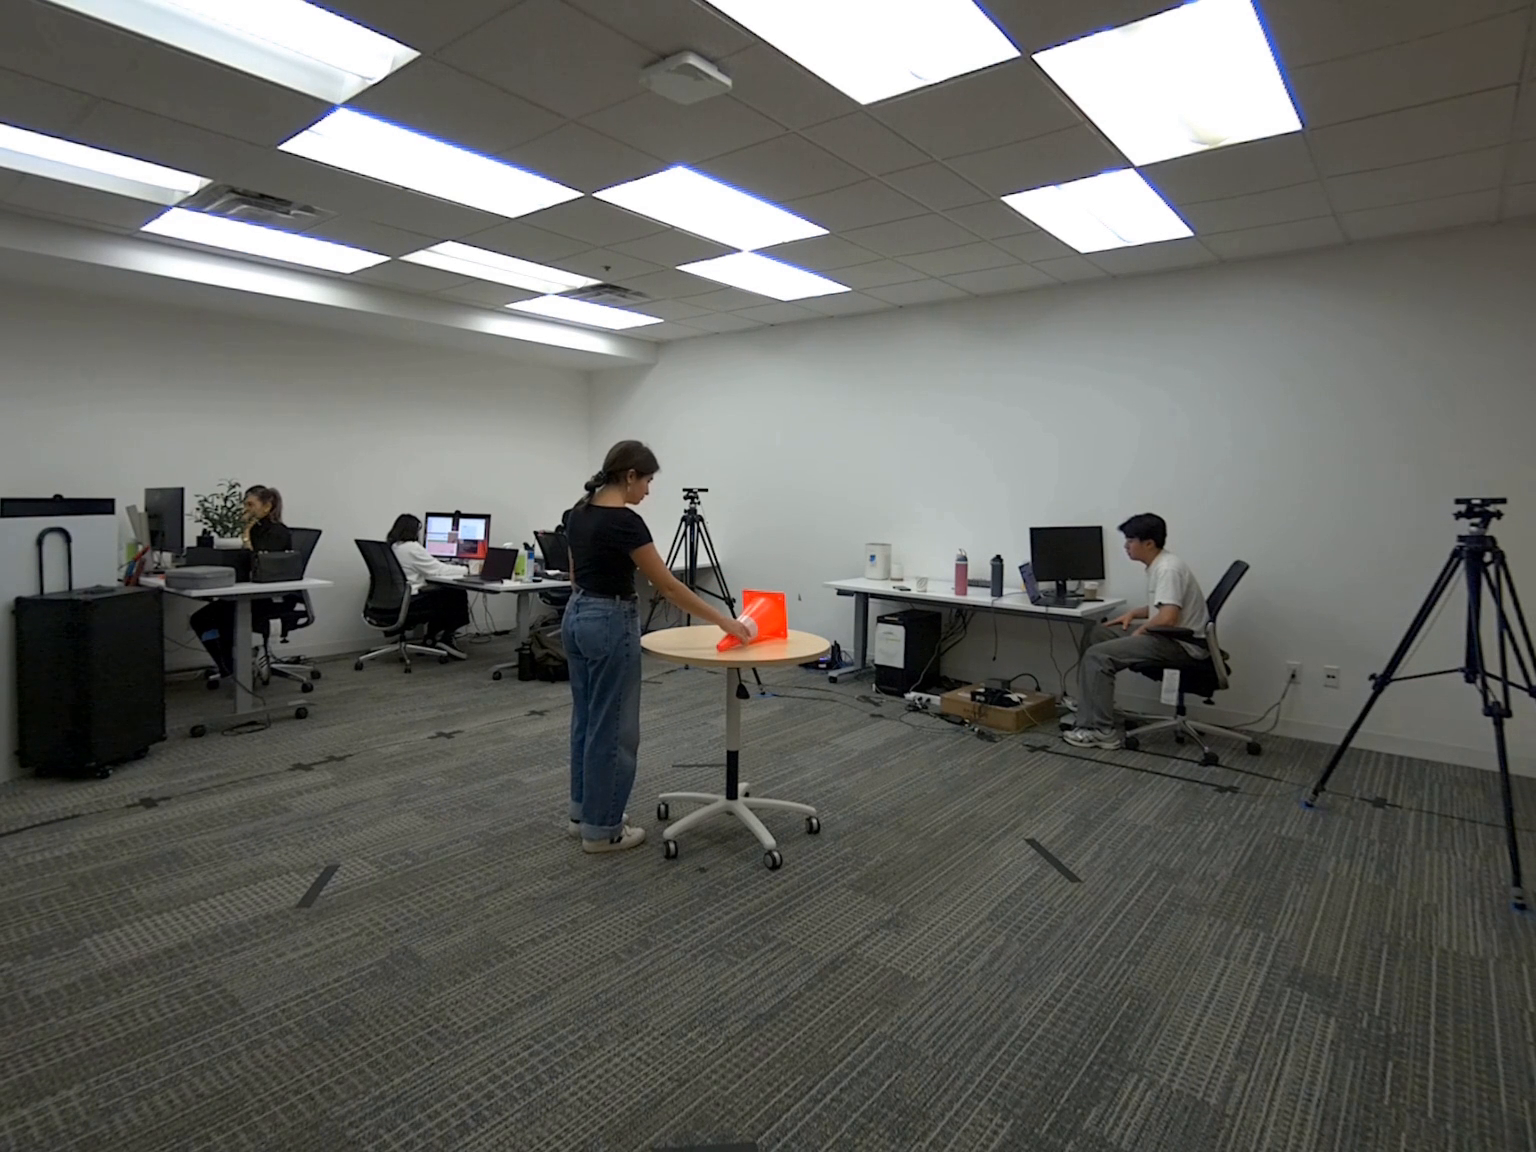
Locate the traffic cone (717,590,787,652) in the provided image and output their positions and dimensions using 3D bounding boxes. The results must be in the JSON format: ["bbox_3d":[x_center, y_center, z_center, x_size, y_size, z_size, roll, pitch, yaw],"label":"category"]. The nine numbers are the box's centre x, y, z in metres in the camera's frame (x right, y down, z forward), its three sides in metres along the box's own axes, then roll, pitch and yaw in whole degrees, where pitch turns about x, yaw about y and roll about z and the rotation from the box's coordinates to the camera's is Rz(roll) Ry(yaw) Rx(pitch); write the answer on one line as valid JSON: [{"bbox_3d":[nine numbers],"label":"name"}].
[{"bbox_3d":[-0.102,0.212,3.353,0.209,0.201,0.379,4,20,29],"label":"traffic cone"}]
